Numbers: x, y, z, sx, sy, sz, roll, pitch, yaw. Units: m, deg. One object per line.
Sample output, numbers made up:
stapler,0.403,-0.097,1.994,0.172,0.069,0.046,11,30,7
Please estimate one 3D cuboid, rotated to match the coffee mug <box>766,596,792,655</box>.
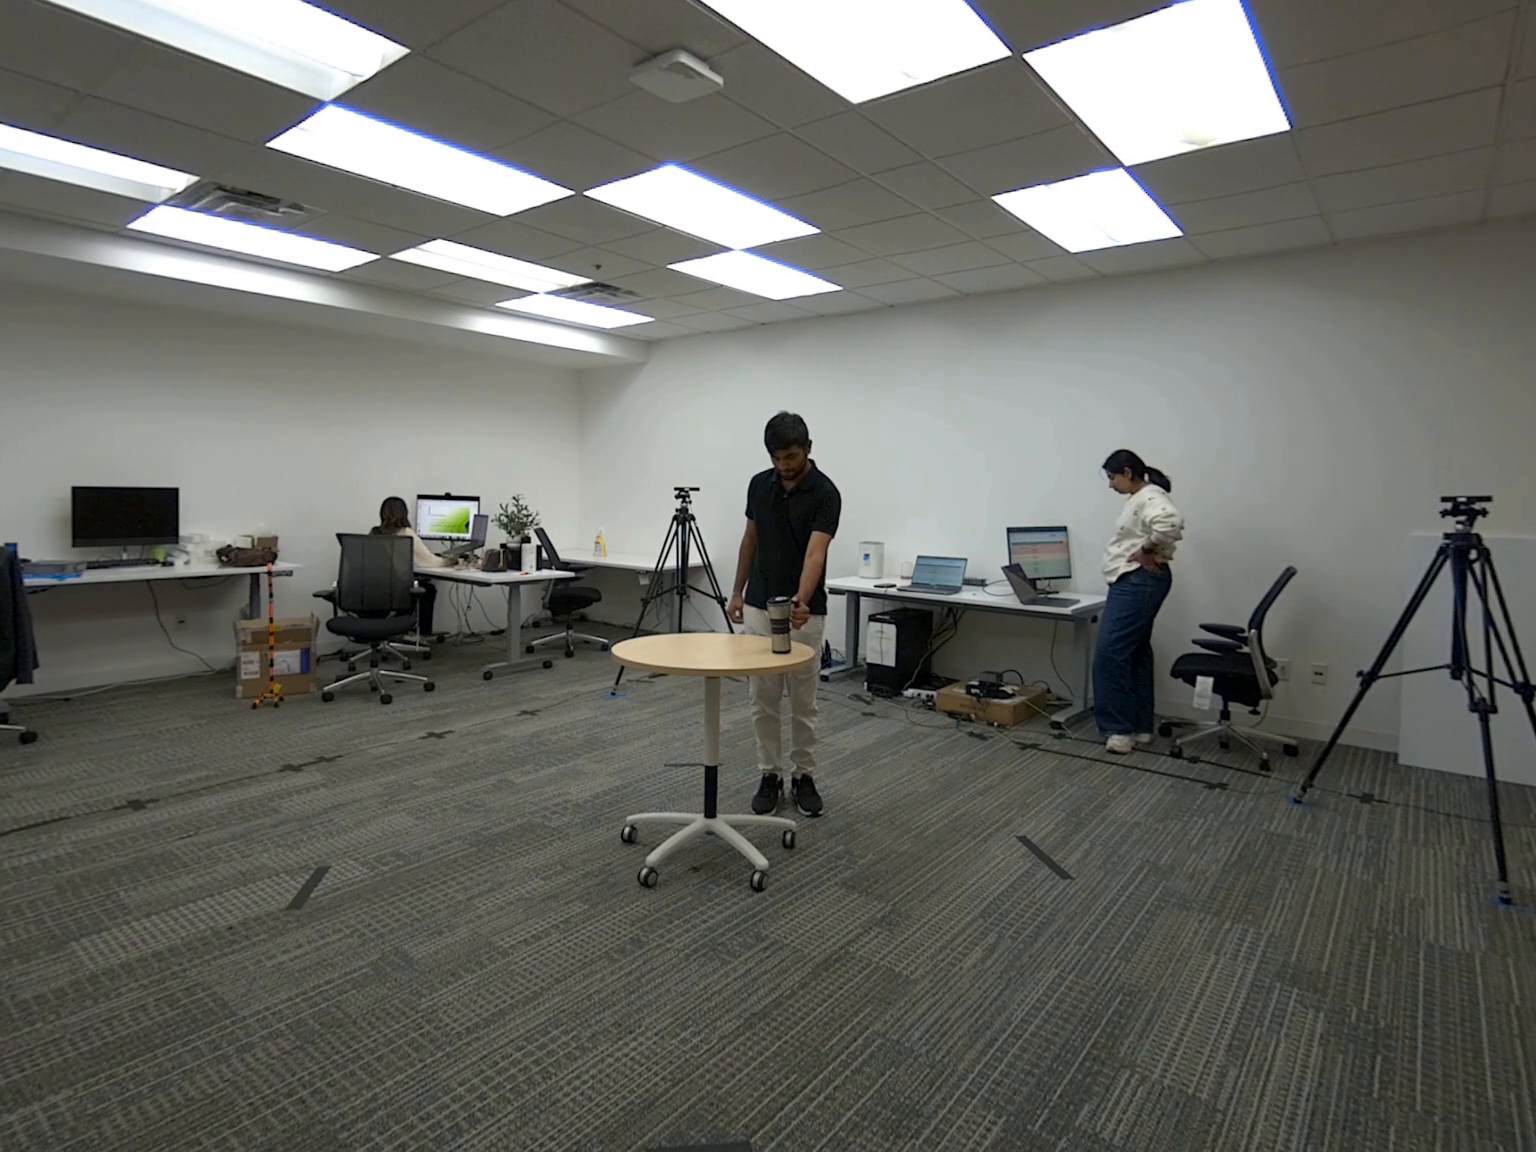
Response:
coffee mug,0.055,0.179,3.140,0.124,0.202,0.086,-7,4,22
